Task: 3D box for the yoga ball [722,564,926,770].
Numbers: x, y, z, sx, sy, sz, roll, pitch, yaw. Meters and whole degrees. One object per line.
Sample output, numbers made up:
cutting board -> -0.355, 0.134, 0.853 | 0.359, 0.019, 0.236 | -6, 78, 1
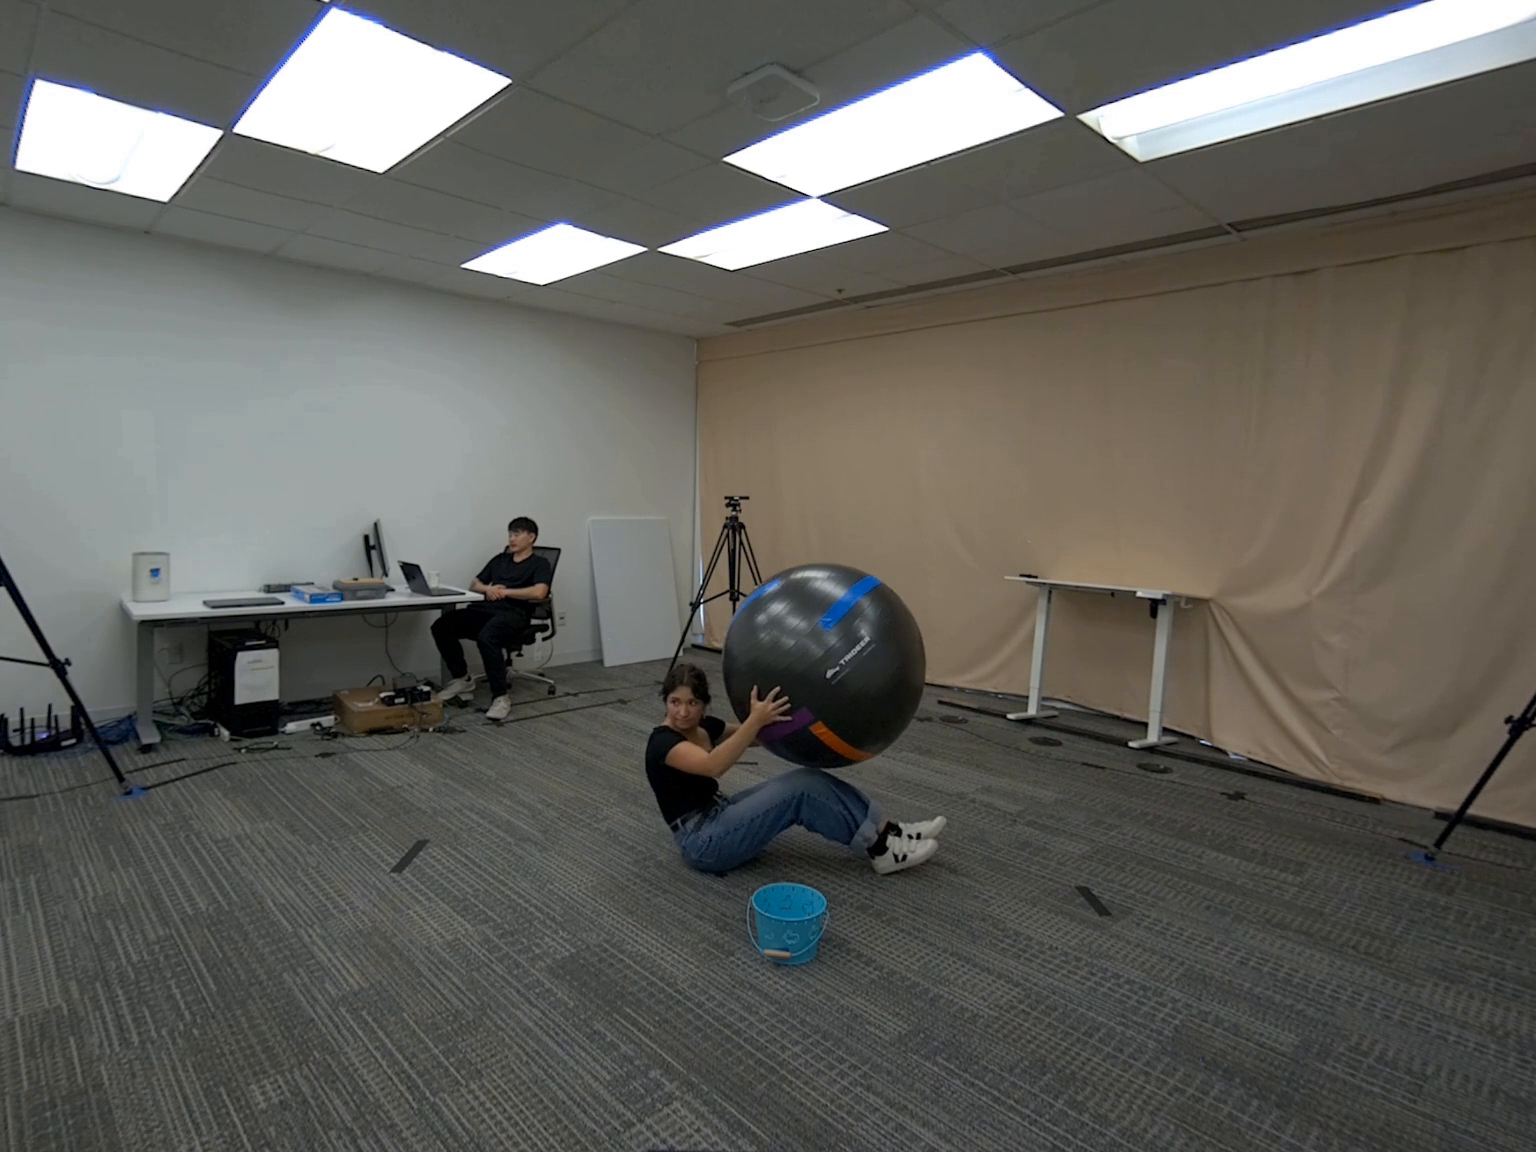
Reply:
yoga ball -> 0.201, 0.336, 3.147 | 0.757, 0.756, 0.761 | 1, 4, -1
